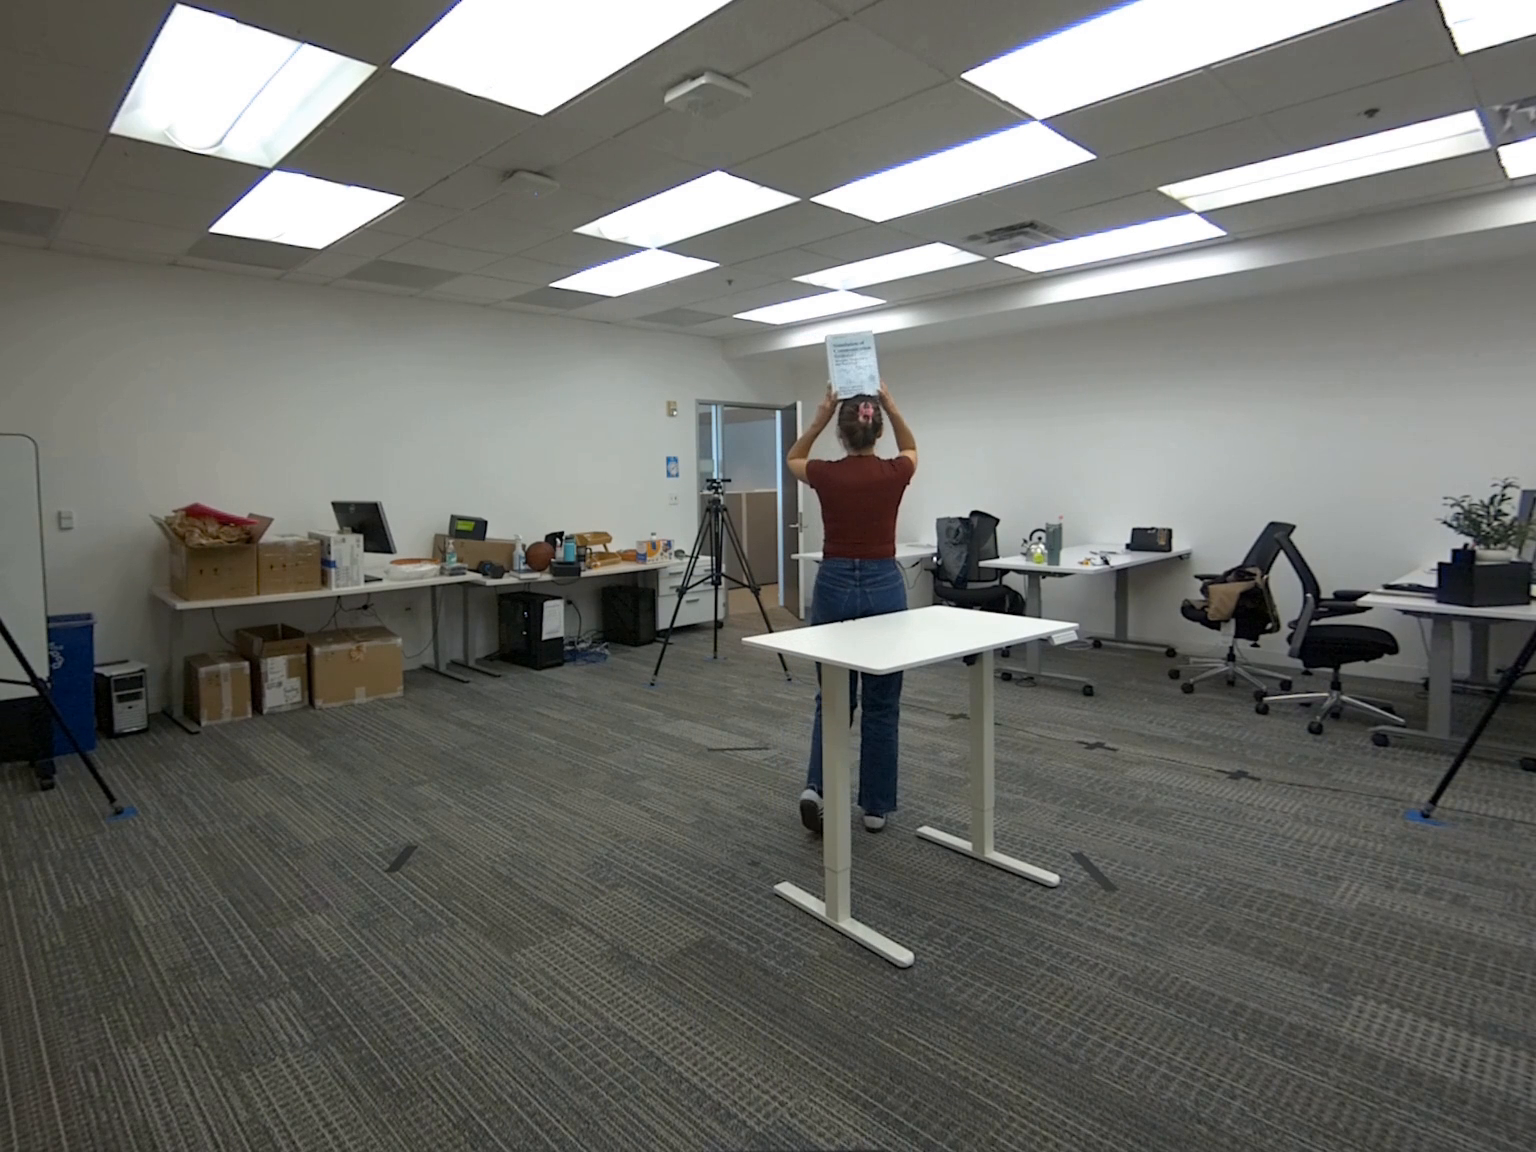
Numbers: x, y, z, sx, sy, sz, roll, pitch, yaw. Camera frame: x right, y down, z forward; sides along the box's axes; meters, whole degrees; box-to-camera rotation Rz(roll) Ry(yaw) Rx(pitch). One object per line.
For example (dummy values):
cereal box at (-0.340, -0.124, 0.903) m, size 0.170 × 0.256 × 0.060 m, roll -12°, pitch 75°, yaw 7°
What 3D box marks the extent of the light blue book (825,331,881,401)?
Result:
light blue book at (0.331, -0.821, 3.348) m, size 0.191 × 0.262 × 0.059 m, roll -6°, pitch -5°, yaw -2°
